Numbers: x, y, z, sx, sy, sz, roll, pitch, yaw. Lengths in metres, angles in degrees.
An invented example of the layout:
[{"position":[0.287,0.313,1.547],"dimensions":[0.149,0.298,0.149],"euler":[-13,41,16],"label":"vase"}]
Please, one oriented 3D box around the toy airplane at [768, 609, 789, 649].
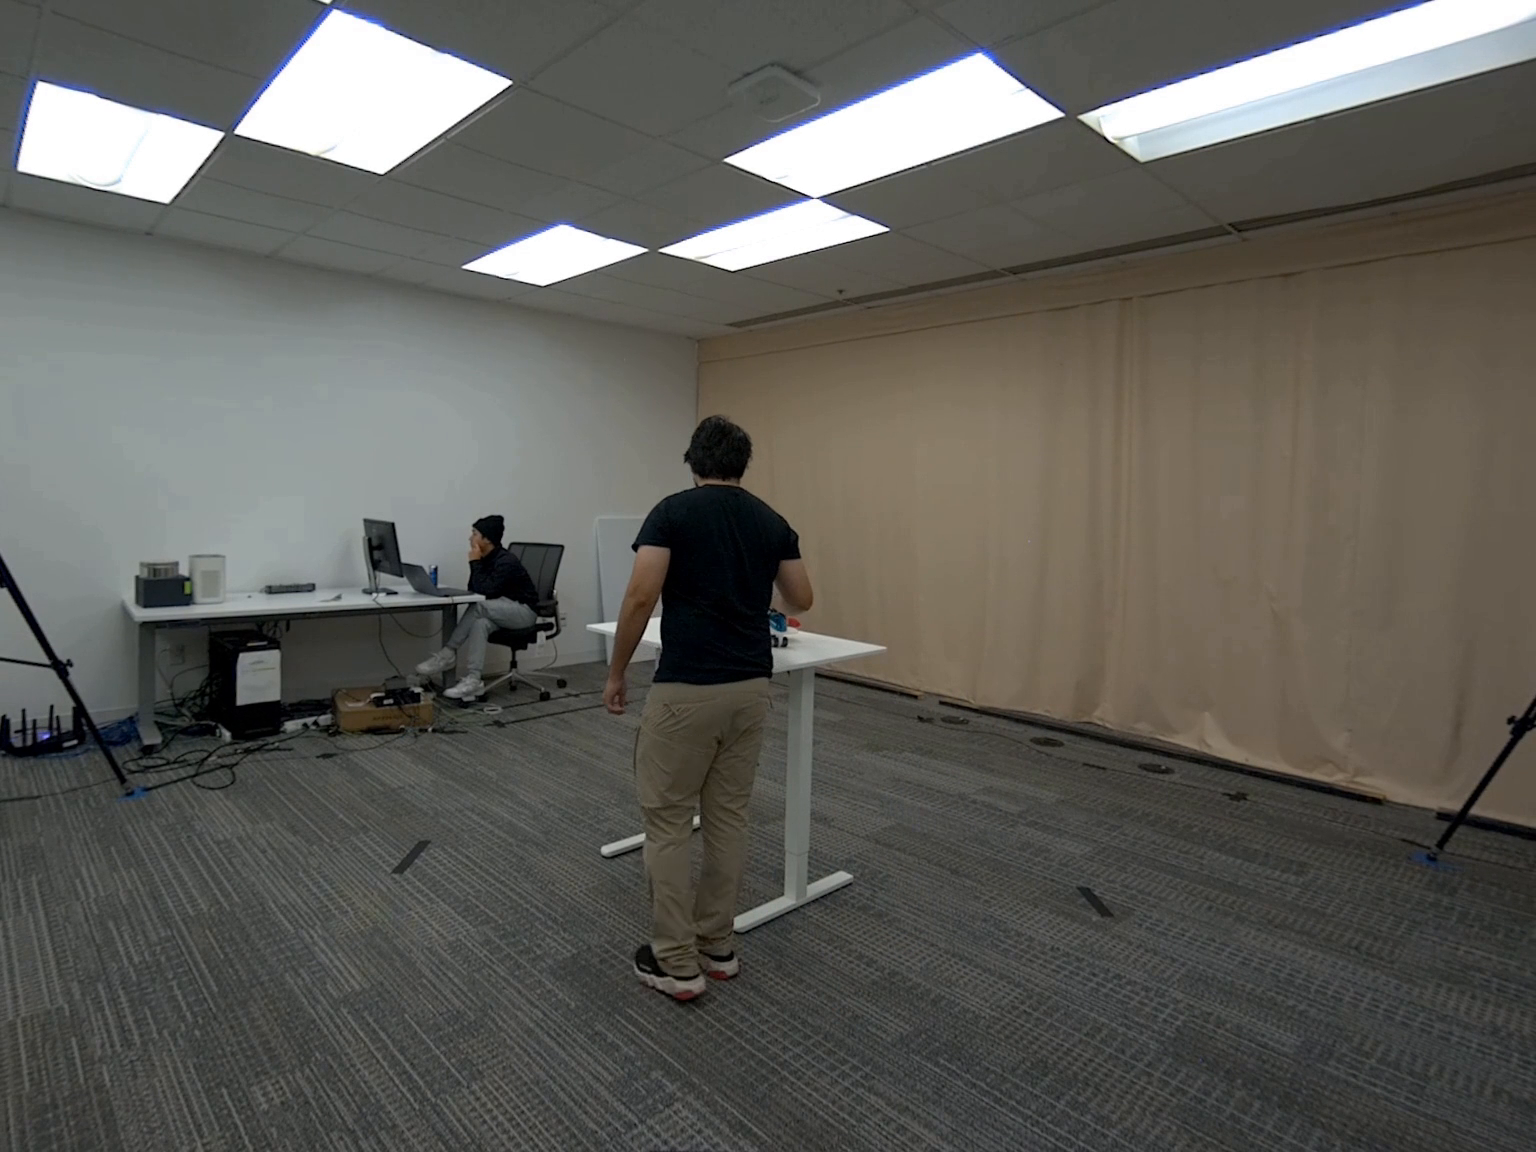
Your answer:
[{"position":[0.017,0.162,3.001],"dimensions":[0.245,0.156,0.266],"euler":[-4,7,-45],"label":"toy airplane"}]
